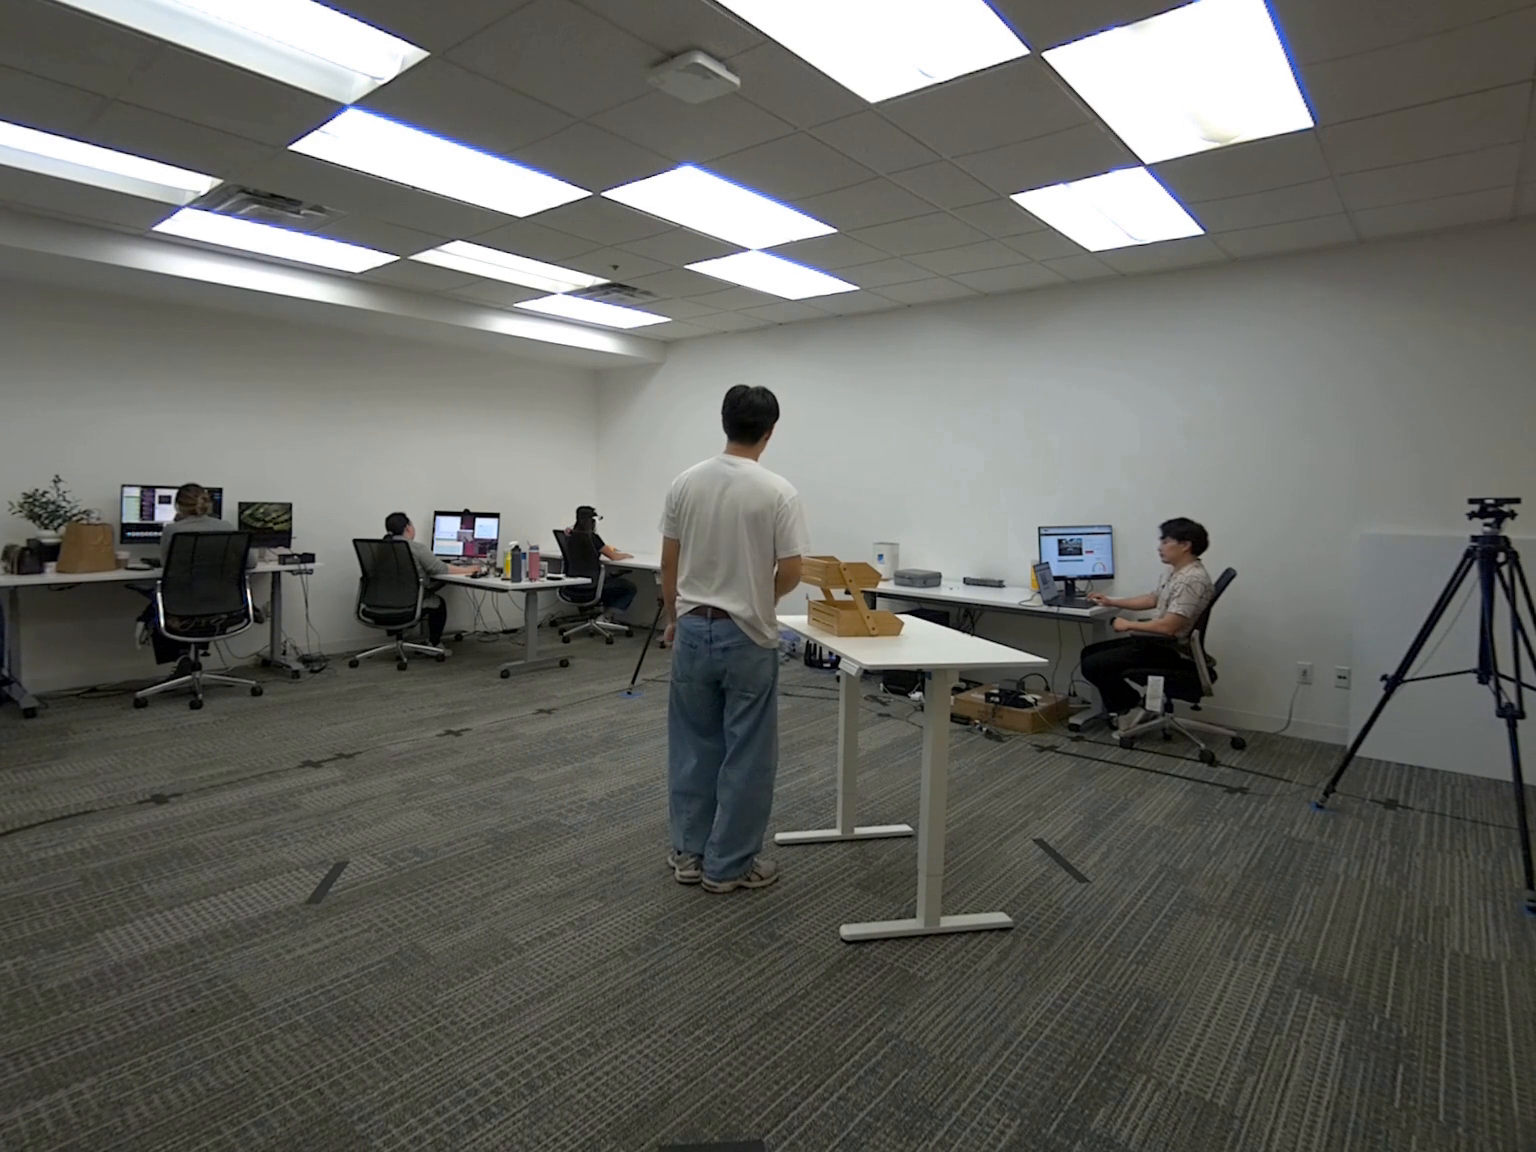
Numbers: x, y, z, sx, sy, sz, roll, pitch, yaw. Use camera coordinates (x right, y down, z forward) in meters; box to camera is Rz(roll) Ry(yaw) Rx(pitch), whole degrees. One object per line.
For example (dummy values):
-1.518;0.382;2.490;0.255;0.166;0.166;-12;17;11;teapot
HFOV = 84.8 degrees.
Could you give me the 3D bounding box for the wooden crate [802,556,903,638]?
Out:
0.286;0.067;3.099;0.297;0.272;0.331;-1;4;-16;wooden crate
